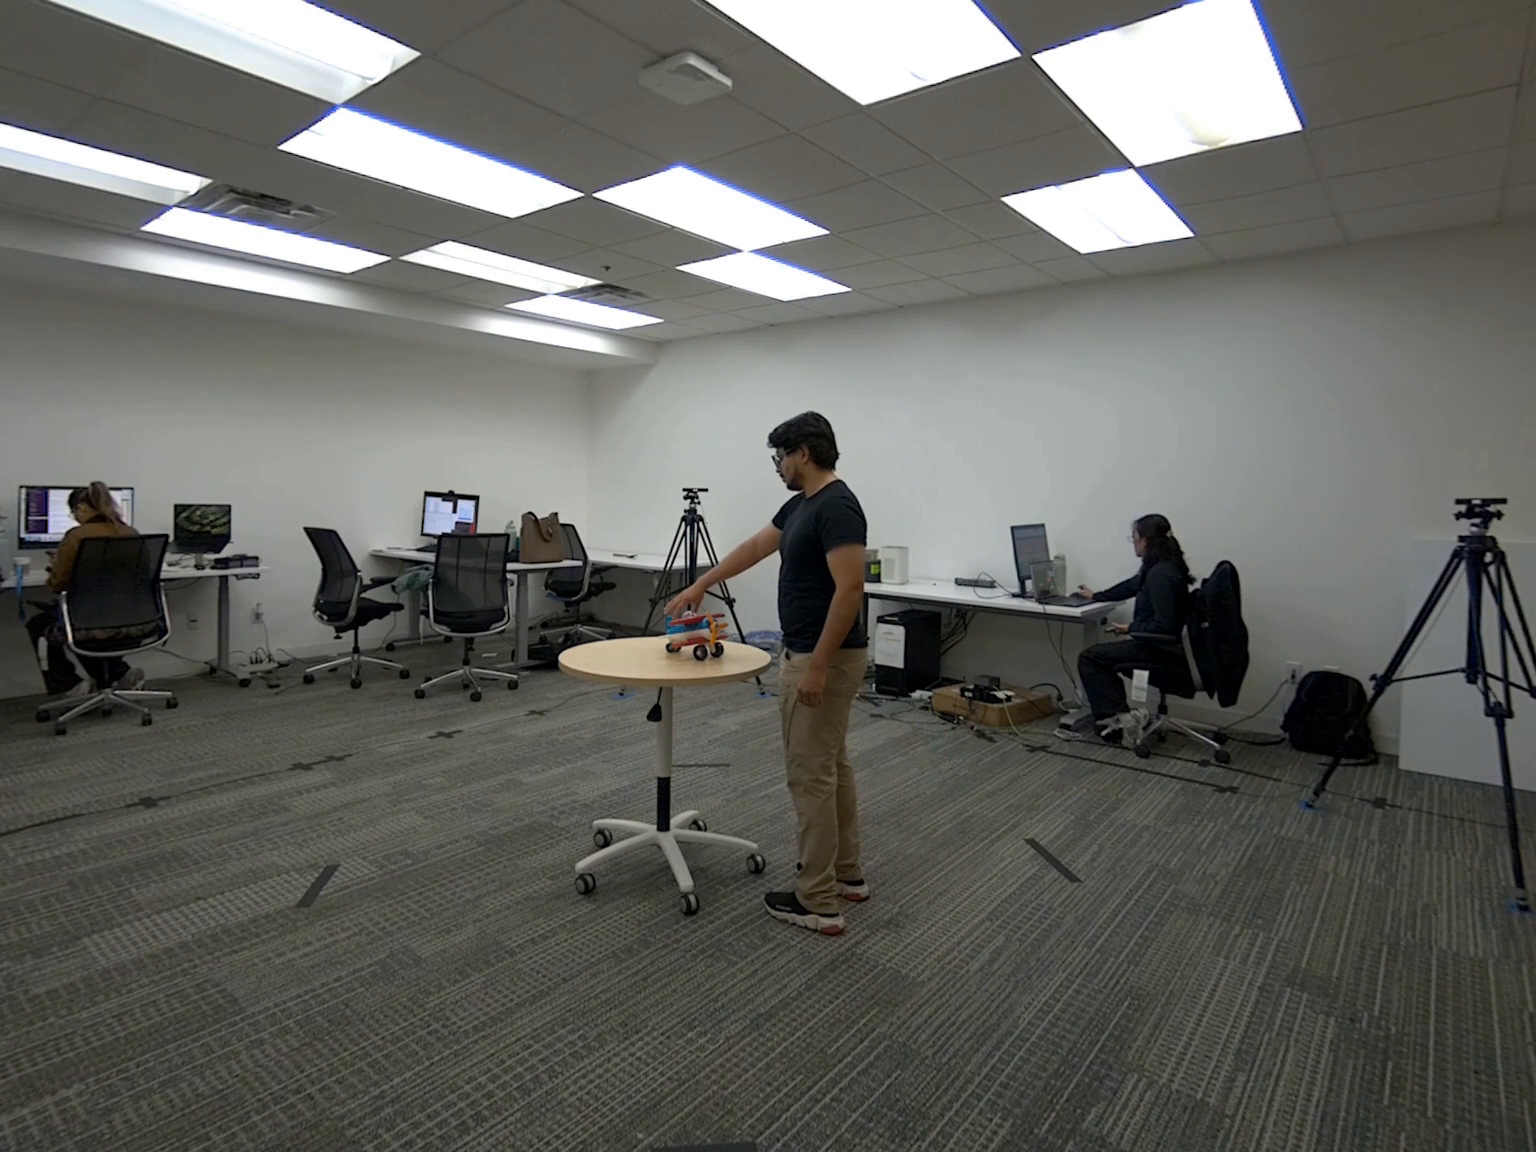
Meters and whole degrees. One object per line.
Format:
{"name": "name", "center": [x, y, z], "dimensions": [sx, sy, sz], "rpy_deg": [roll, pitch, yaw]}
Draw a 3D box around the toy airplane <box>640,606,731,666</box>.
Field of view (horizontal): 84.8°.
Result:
{"name": "toy airplane", "center": [-0.300, 0.212, 3.074], "dimensions": [0.263, 0.156, 0.248], "rpy_deg": [3, 6, 14]}
